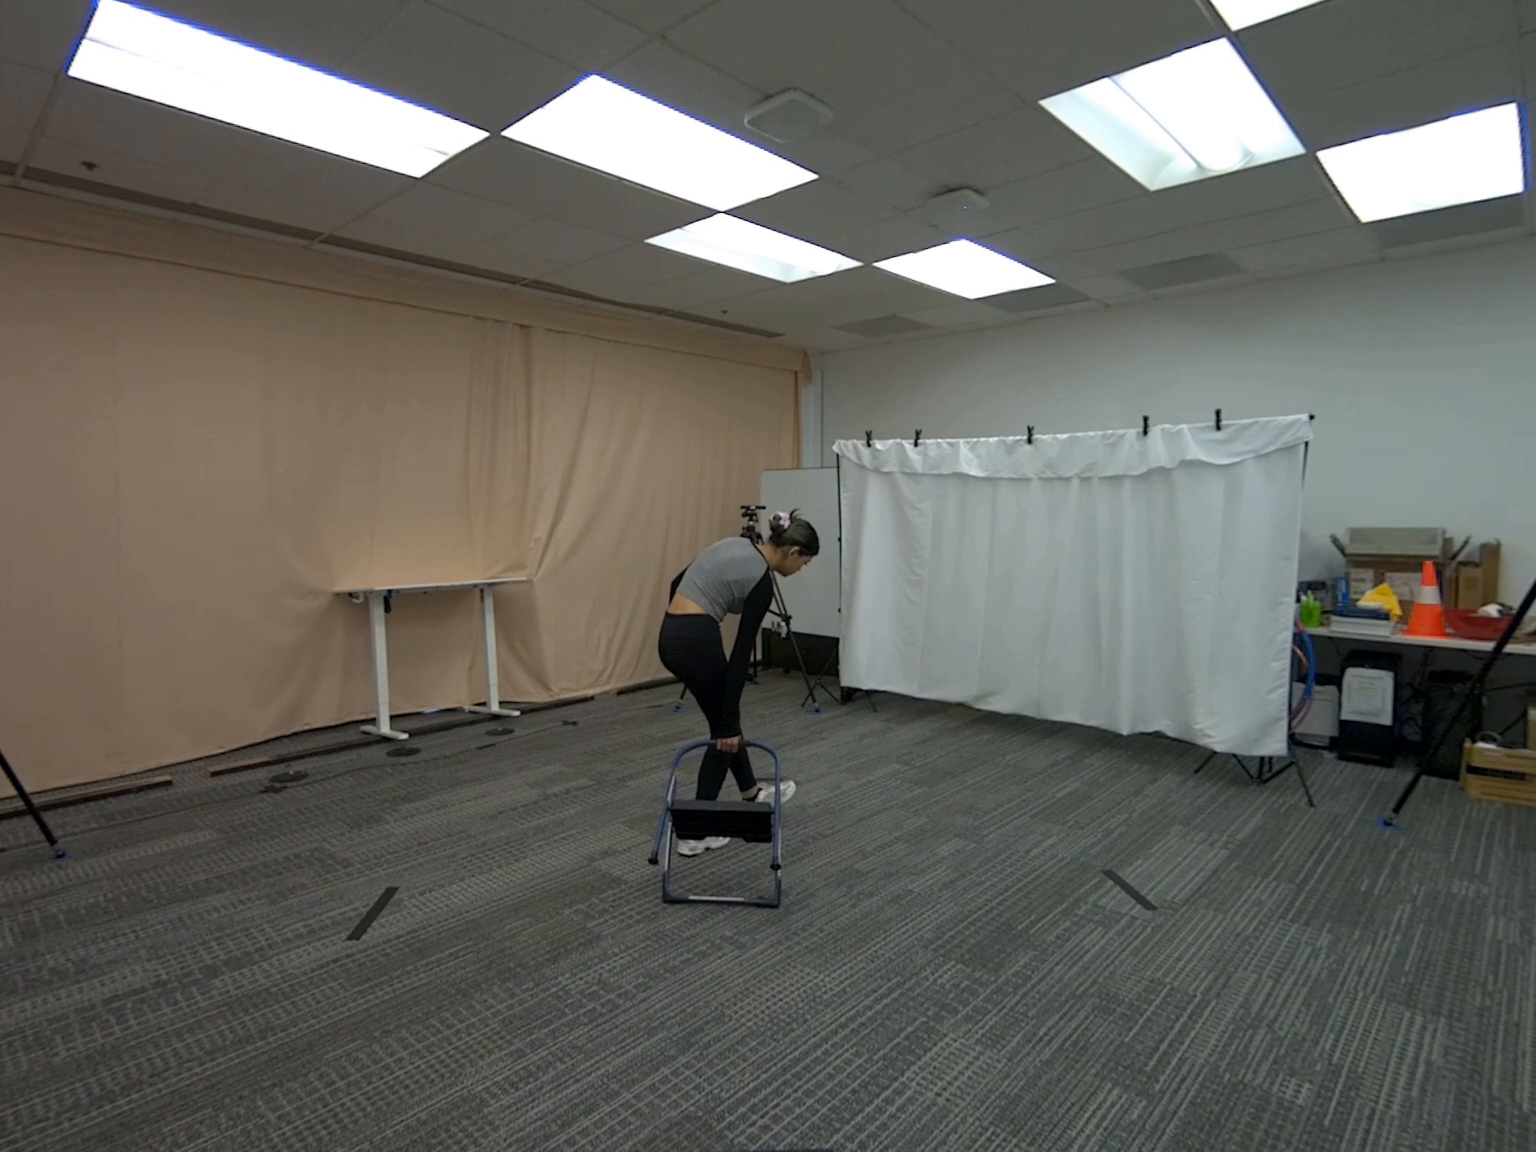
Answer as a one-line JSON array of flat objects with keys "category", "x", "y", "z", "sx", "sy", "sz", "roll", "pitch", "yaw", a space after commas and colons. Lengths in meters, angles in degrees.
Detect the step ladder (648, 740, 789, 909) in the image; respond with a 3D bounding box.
[{"category": "step ladder", "x": -0.156, "y": 0.819, "z": 3.028, "sx": 0.433, "sy": 0.342, "sz": 0.616, "roll": 0, "pitch": 46, "yaw": 4}]
